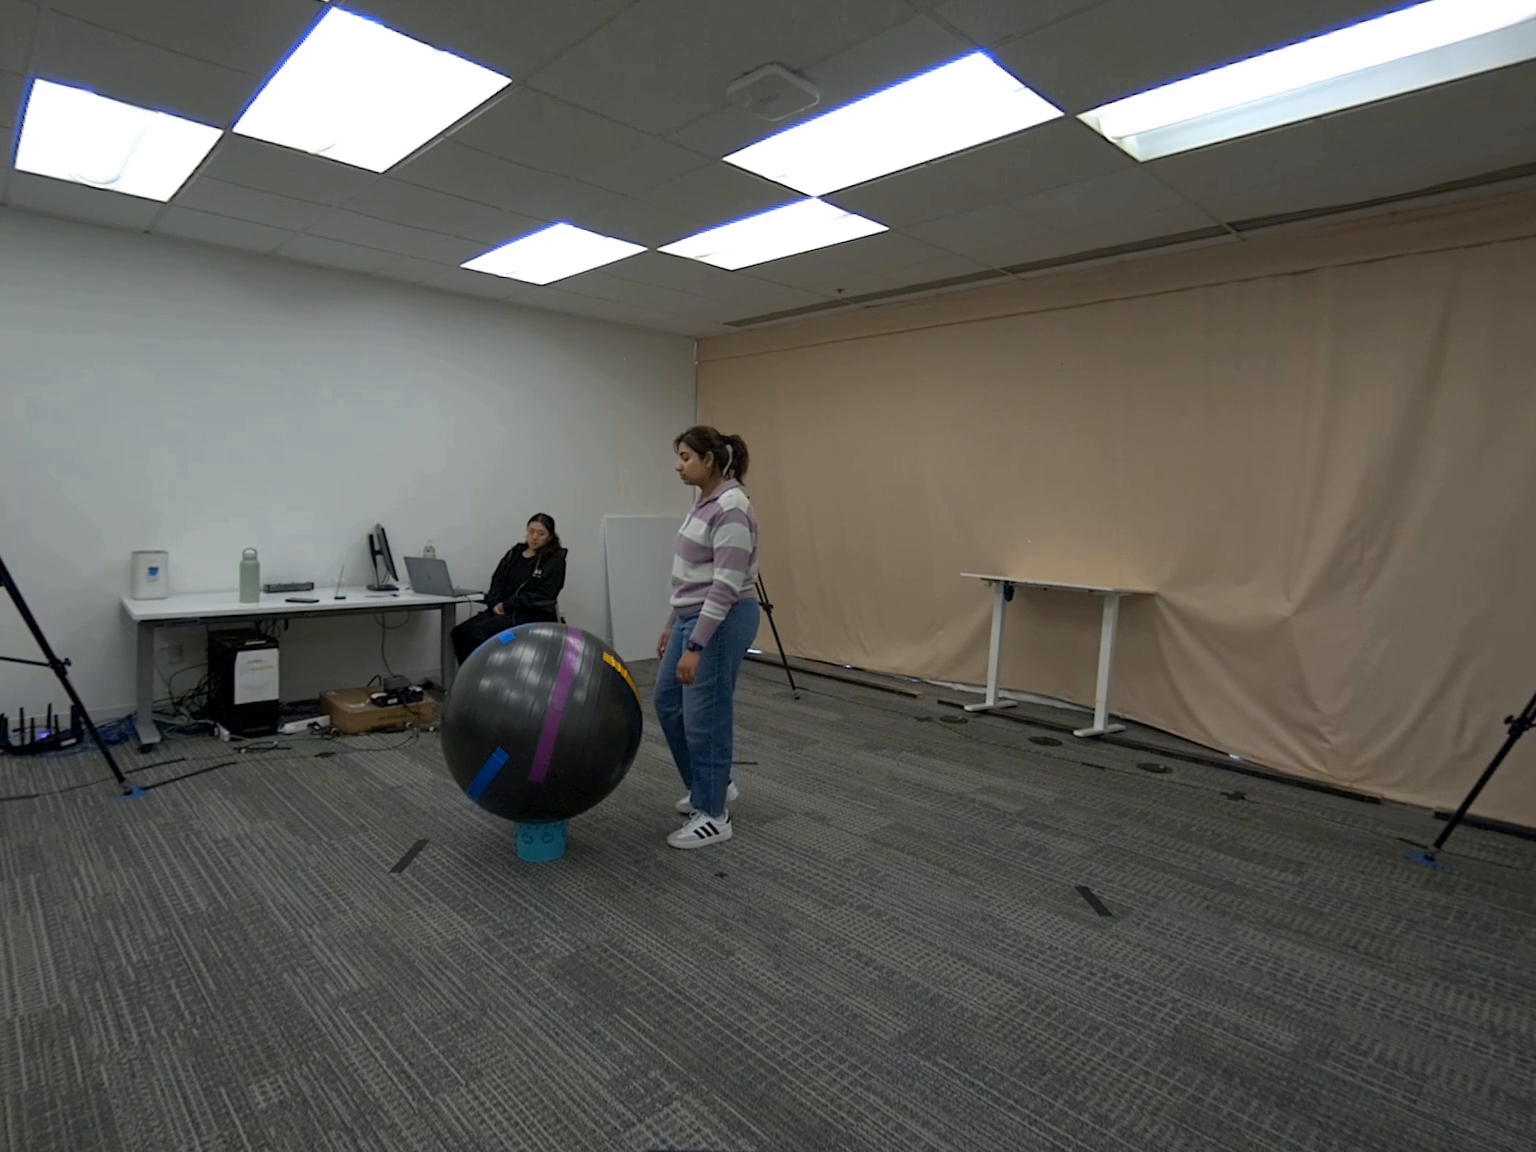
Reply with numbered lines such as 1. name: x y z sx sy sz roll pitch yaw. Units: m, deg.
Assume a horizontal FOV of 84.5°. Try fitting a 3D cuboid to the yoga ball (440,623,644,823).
1. yoga ball: -0.883 0.571 3.240 0.757 0.756 0.761 1 4 -1
